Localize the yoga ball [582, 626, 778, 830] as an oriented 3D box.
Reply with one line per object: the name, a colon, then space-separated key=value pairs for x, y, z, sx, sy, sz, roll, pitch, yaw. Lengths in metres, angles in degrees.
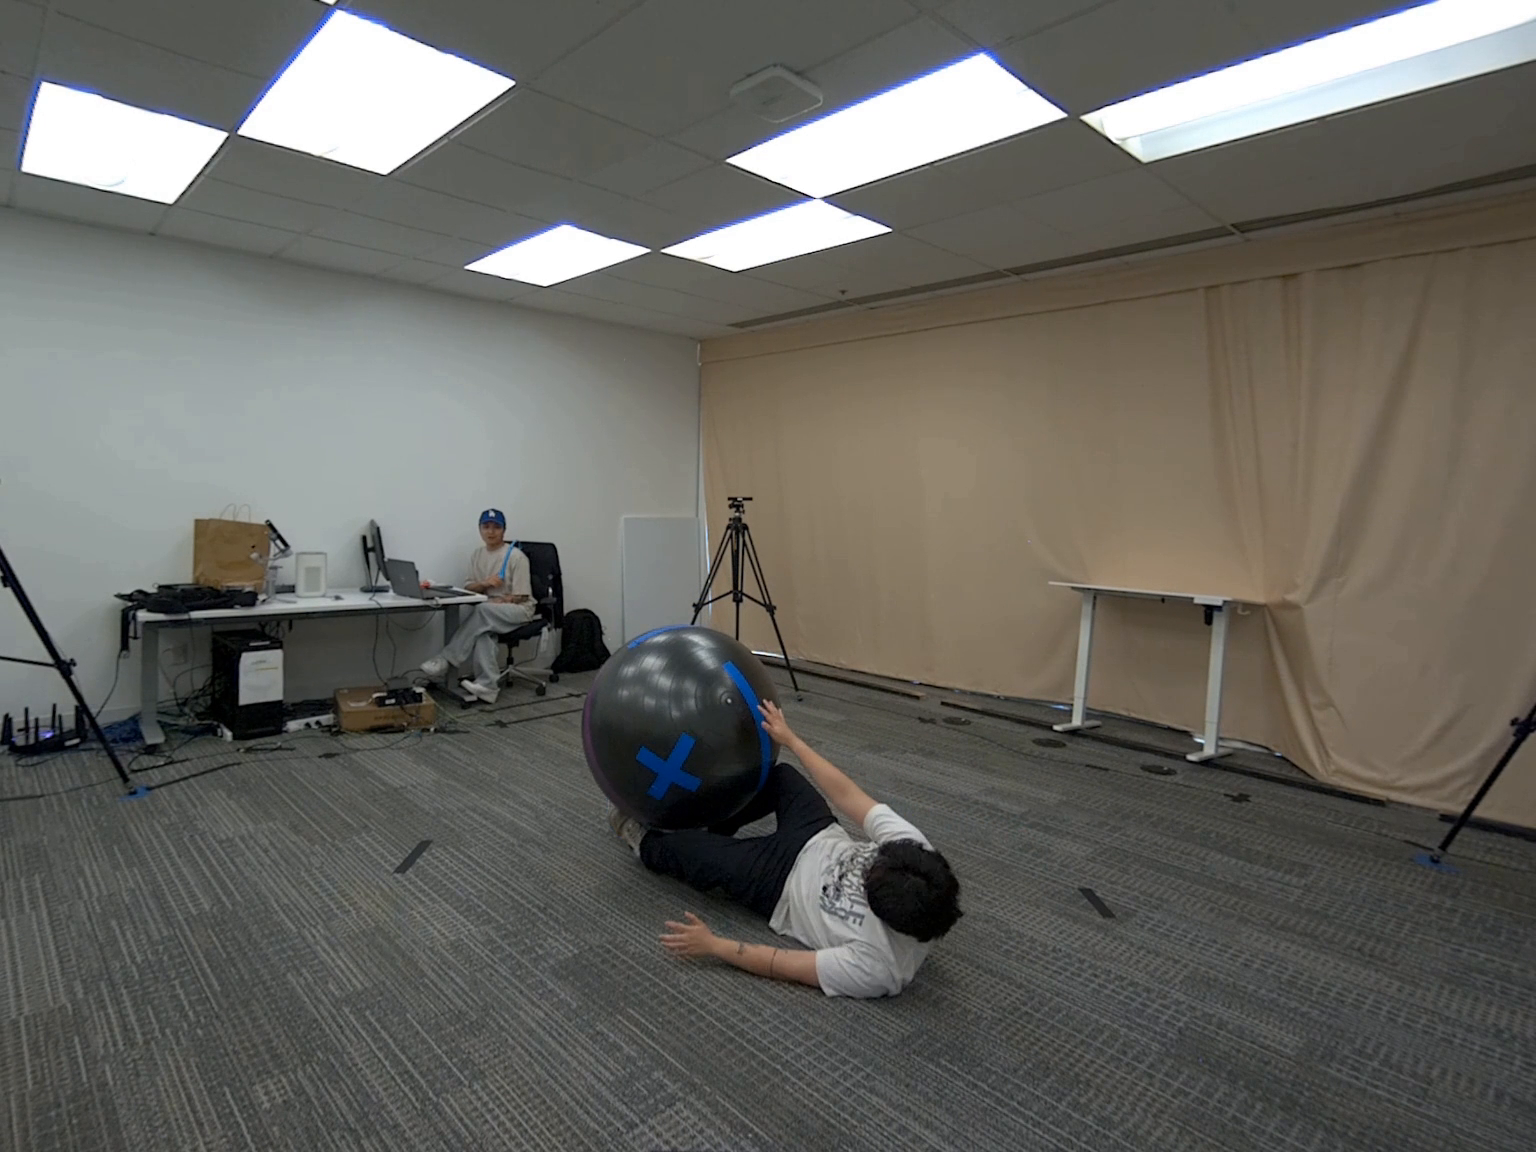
yoga ball: x=-0.324 y=0.564 z=3.191 sx=0.757 sy=0.756 sz=0.760 roll=1 pitch=4 yaw=-1
